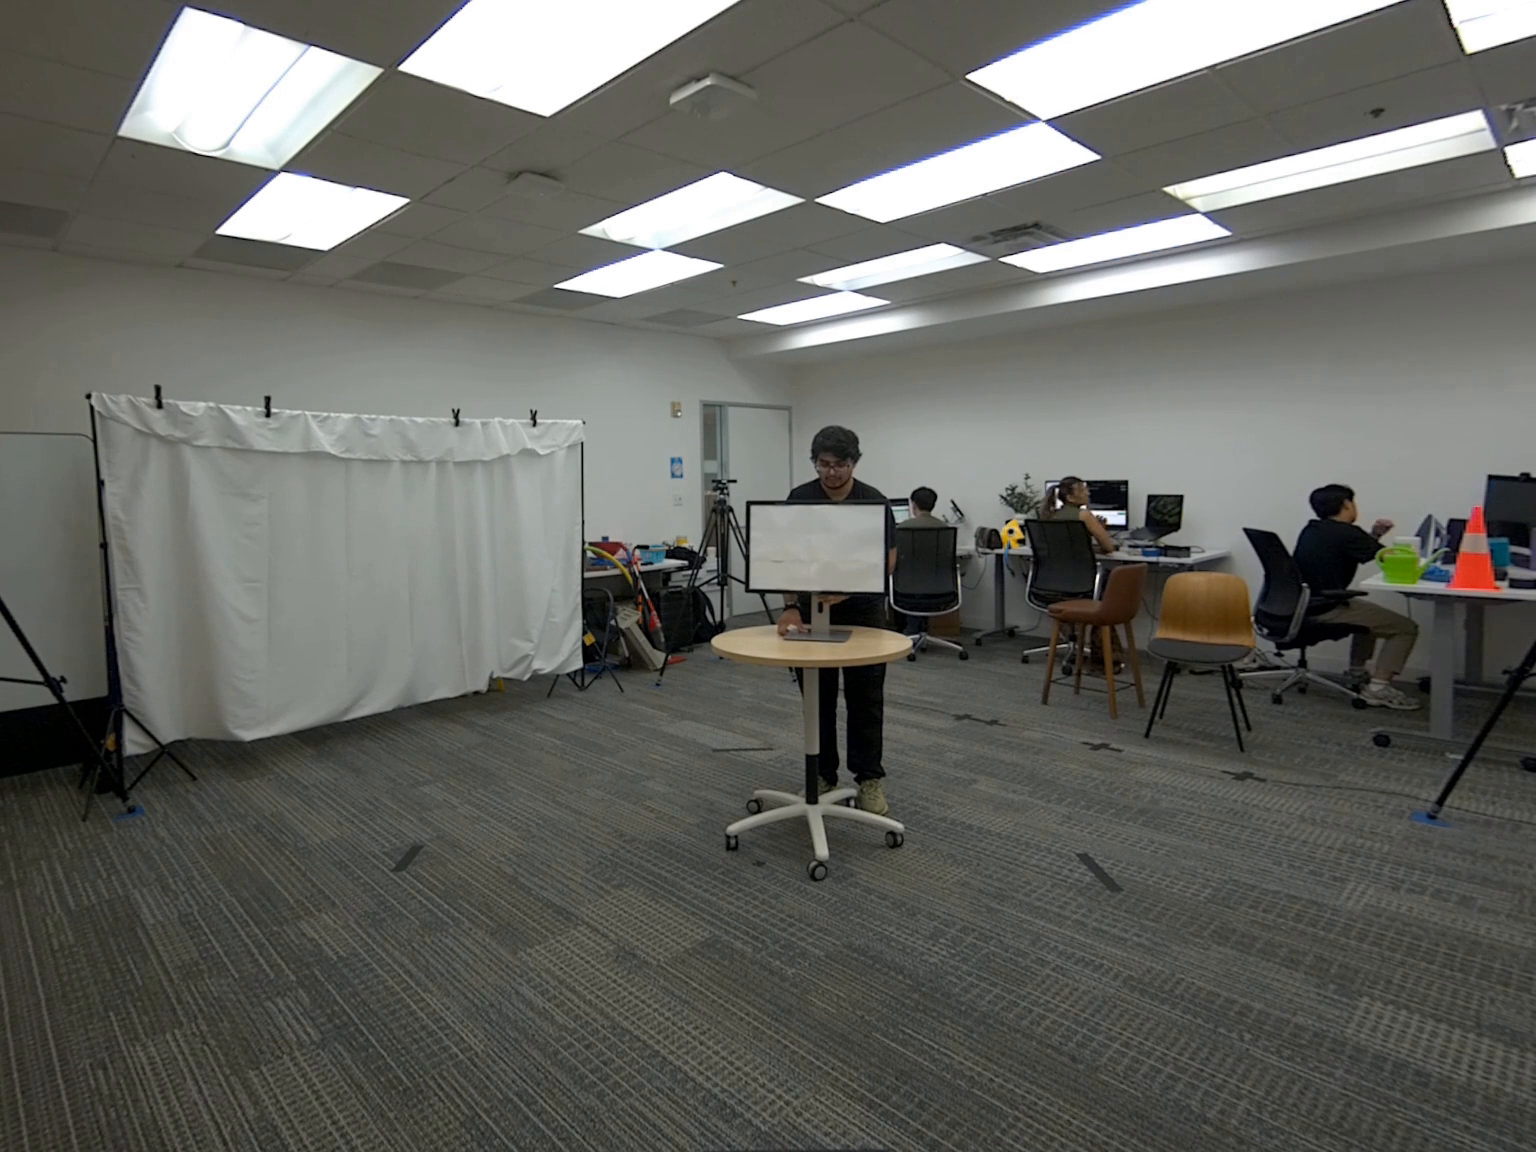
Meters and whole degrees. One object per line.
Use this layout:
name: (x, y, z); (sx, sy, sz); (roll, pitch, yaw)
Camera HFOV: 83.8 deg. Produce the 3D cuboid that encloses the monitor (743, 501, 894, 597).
monitor: (0.197, -0.024, 3.352); (0.575, 0.553, 0.207); (1, 2, 18)
